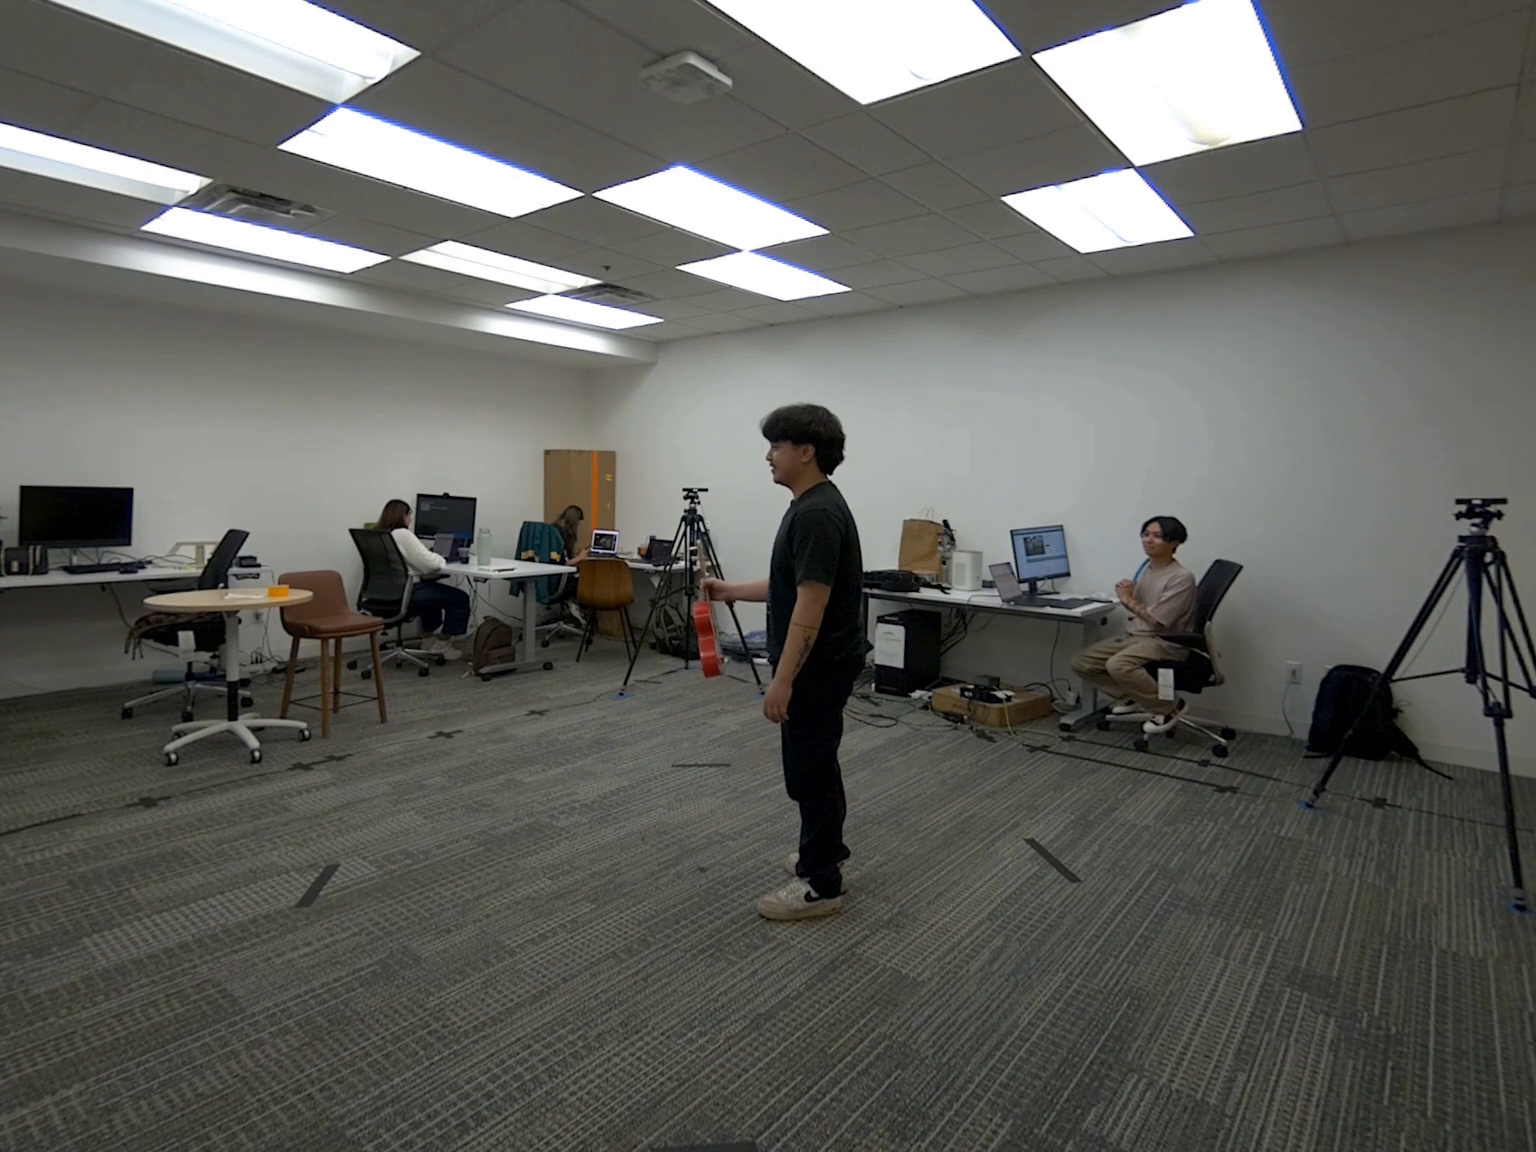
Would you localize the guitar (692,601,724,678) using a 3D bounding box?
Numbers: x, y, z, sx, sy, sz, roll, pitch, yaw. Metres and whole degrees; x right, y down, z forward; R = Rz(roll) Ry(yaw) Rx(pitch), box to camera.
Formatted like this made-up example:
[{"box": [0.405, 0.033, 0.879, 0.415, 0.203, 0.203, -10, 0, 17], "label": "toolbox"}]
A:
[{"box": [-0.240, 0.124, 3.141, 0.071, 0.504, 0.190, -11, -10, 4], "label": "guitar"}]
